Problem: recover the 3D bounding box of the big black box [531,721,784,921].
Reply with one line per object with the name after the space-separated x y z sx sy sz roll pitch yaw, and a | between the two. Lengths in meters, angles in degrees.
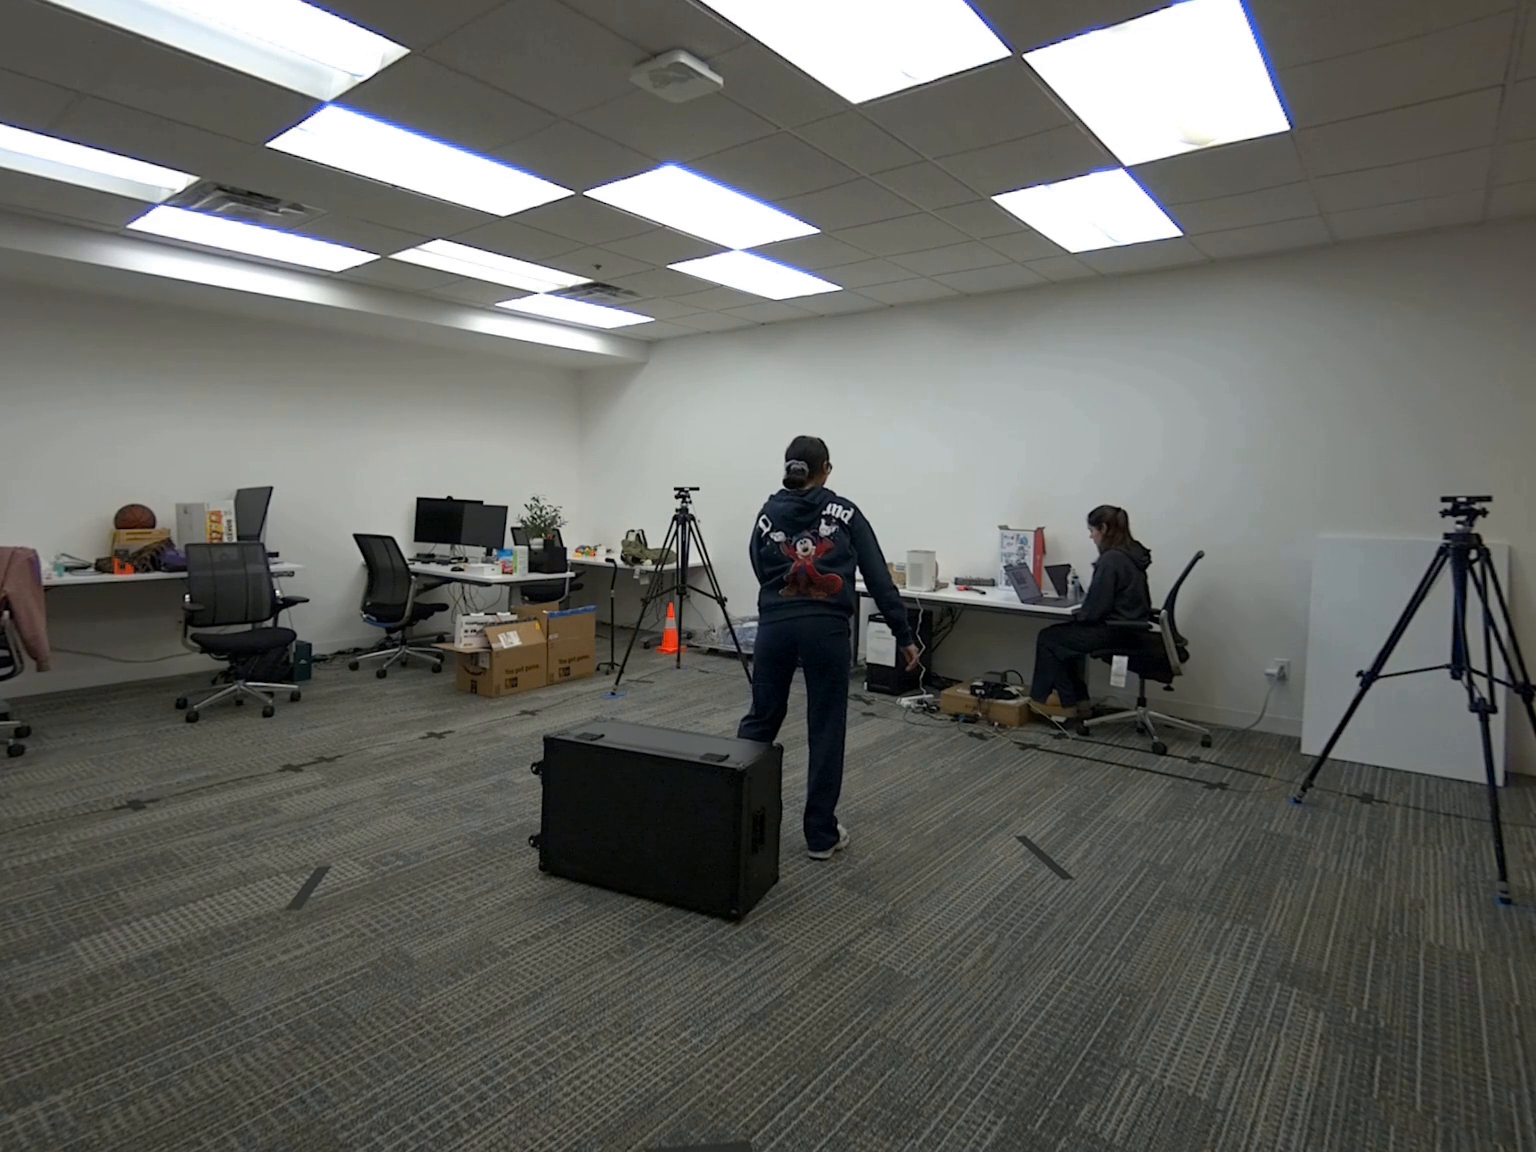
-0.415 0.812 3.048 0.883 0.521 0.387 3 1 24 | big black box
